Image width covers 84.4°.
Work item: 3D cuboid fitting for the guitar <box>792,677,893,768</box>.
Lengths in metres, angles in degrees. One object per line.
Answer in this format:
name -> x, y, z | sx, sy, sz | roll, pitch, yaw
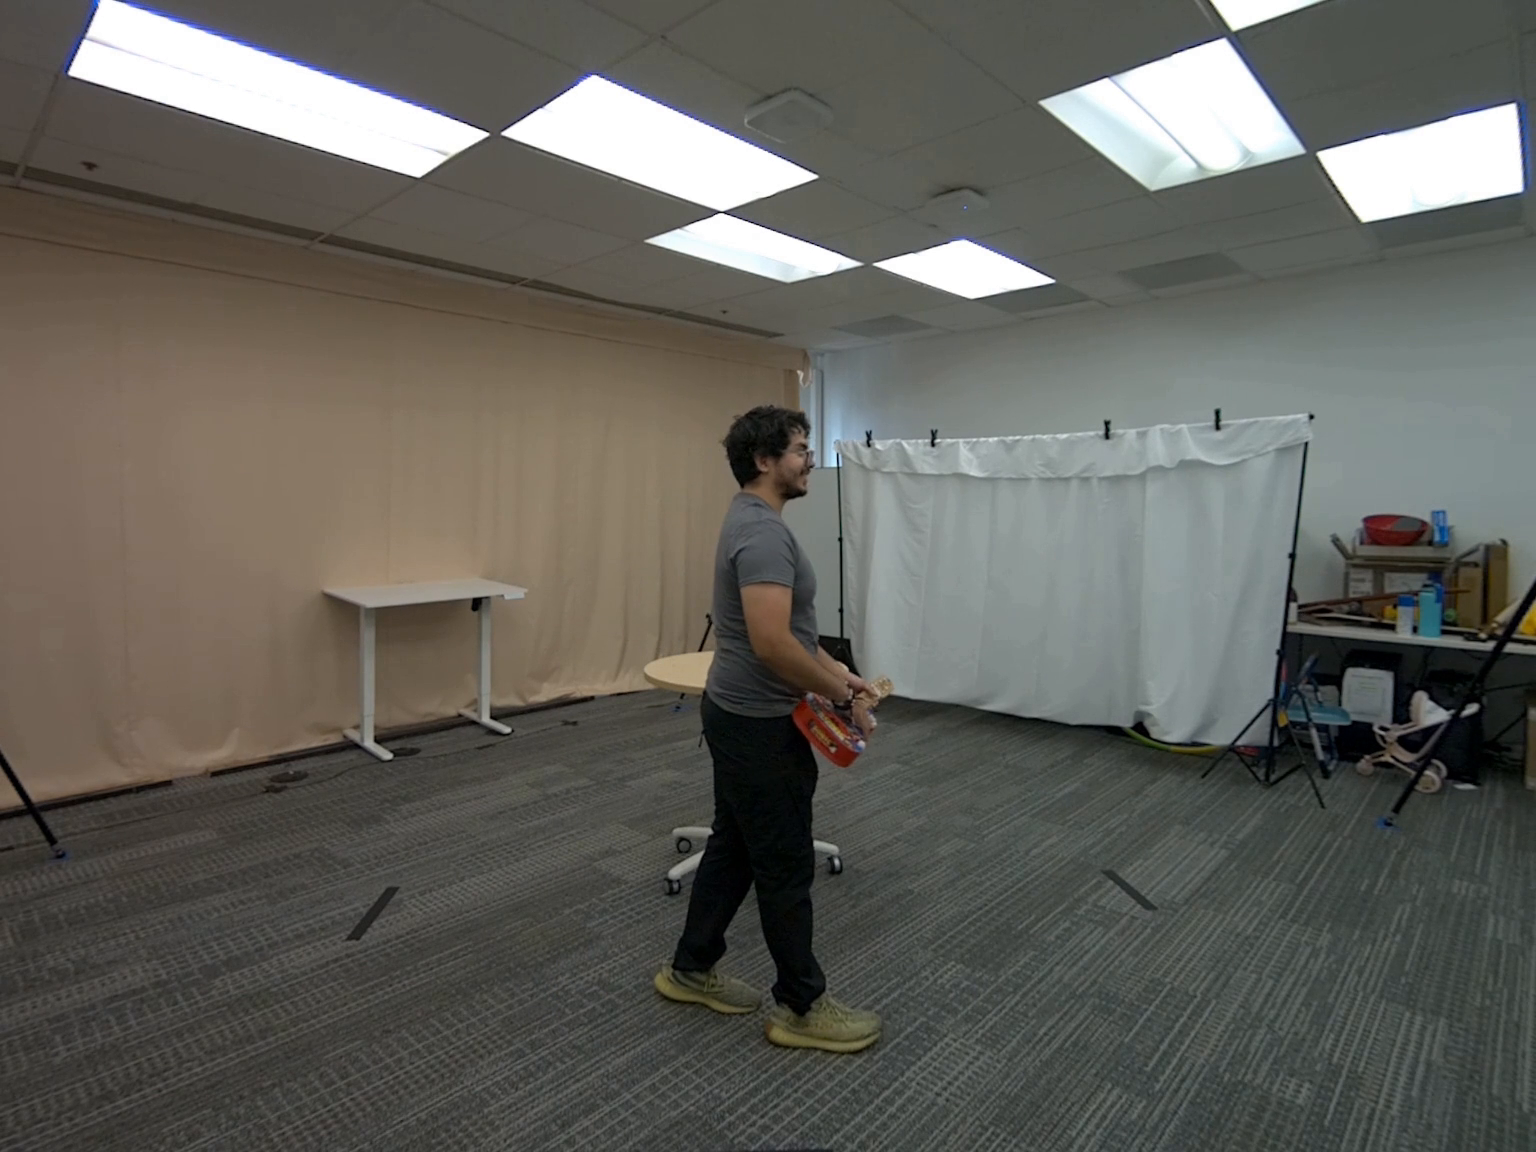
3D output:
guitar -> 0.257, 0.373, 2.250 | 0.198, 0.071, 0.483 | 49, 24, 22
